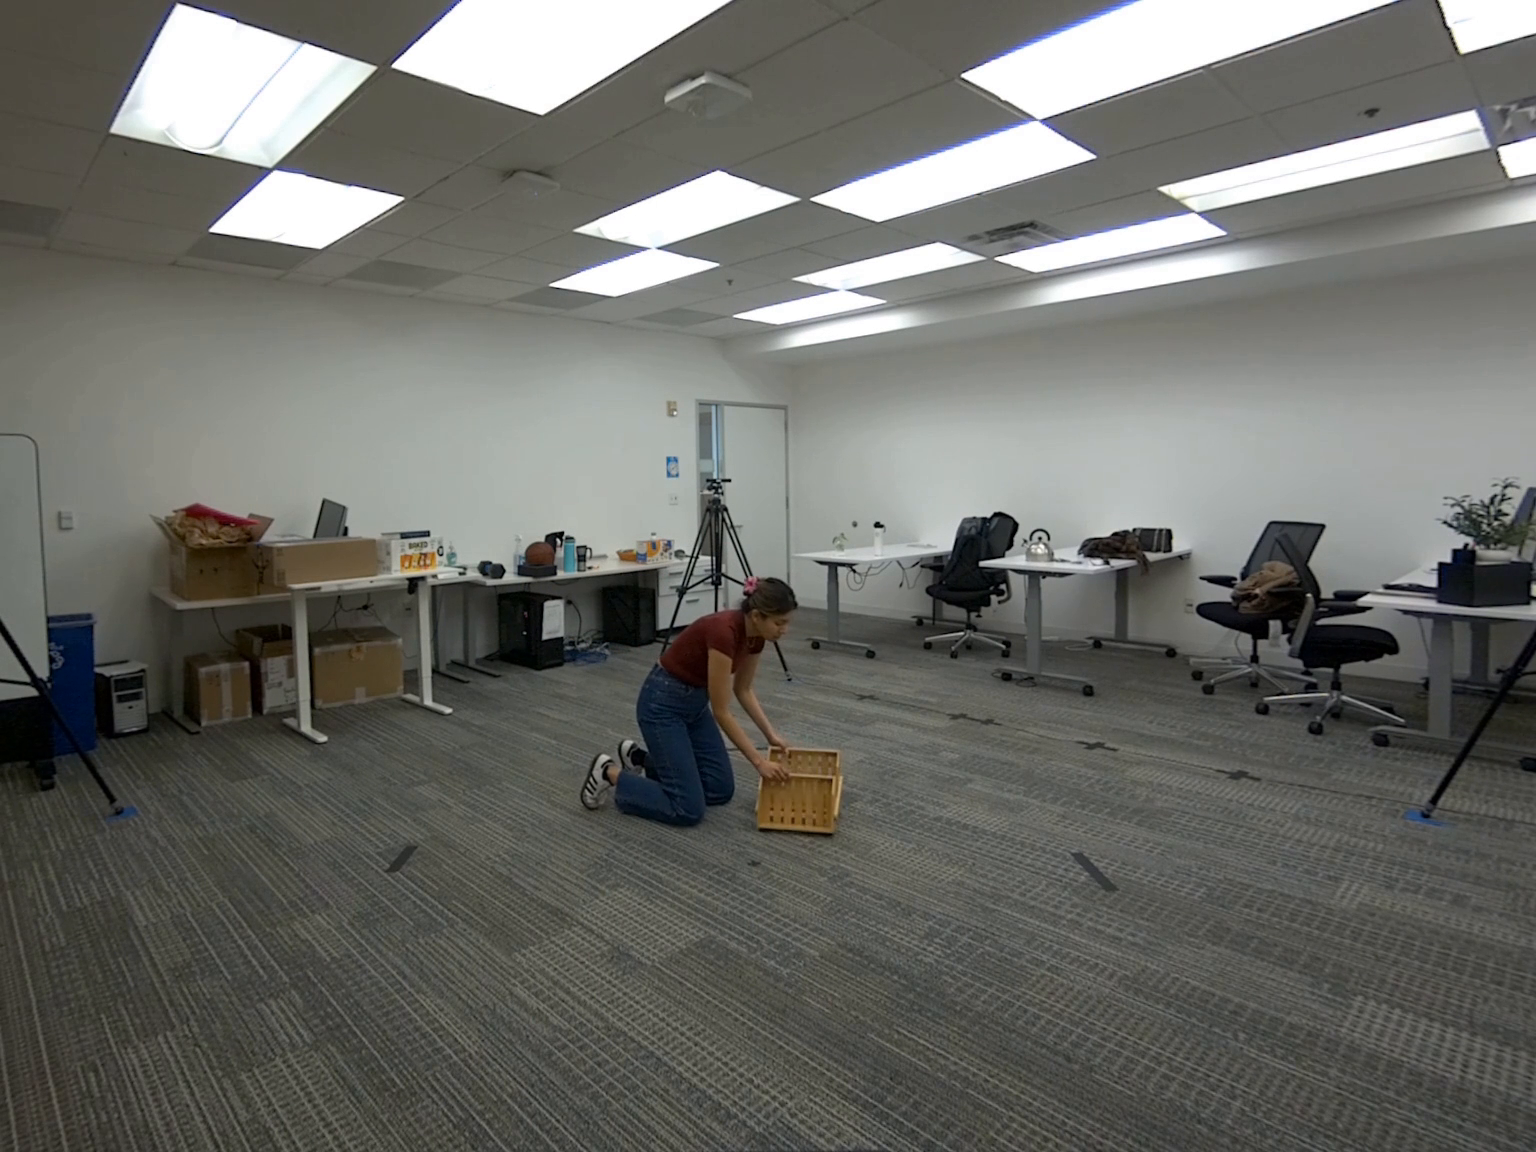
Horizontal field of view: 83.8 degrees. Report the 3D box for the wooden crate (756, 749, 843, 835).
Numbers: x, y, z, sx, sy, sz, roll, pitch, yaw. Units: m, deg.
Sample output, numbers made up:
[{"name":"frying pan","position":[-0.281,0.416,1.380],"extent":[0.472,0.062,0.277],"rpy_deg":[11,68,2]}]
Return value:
[{"name":"wooden crate","position":[0.131,0.851,3.486],"extent":[0.328,0.305,0.267],"rpy_deg":[1,-11,11]}]
